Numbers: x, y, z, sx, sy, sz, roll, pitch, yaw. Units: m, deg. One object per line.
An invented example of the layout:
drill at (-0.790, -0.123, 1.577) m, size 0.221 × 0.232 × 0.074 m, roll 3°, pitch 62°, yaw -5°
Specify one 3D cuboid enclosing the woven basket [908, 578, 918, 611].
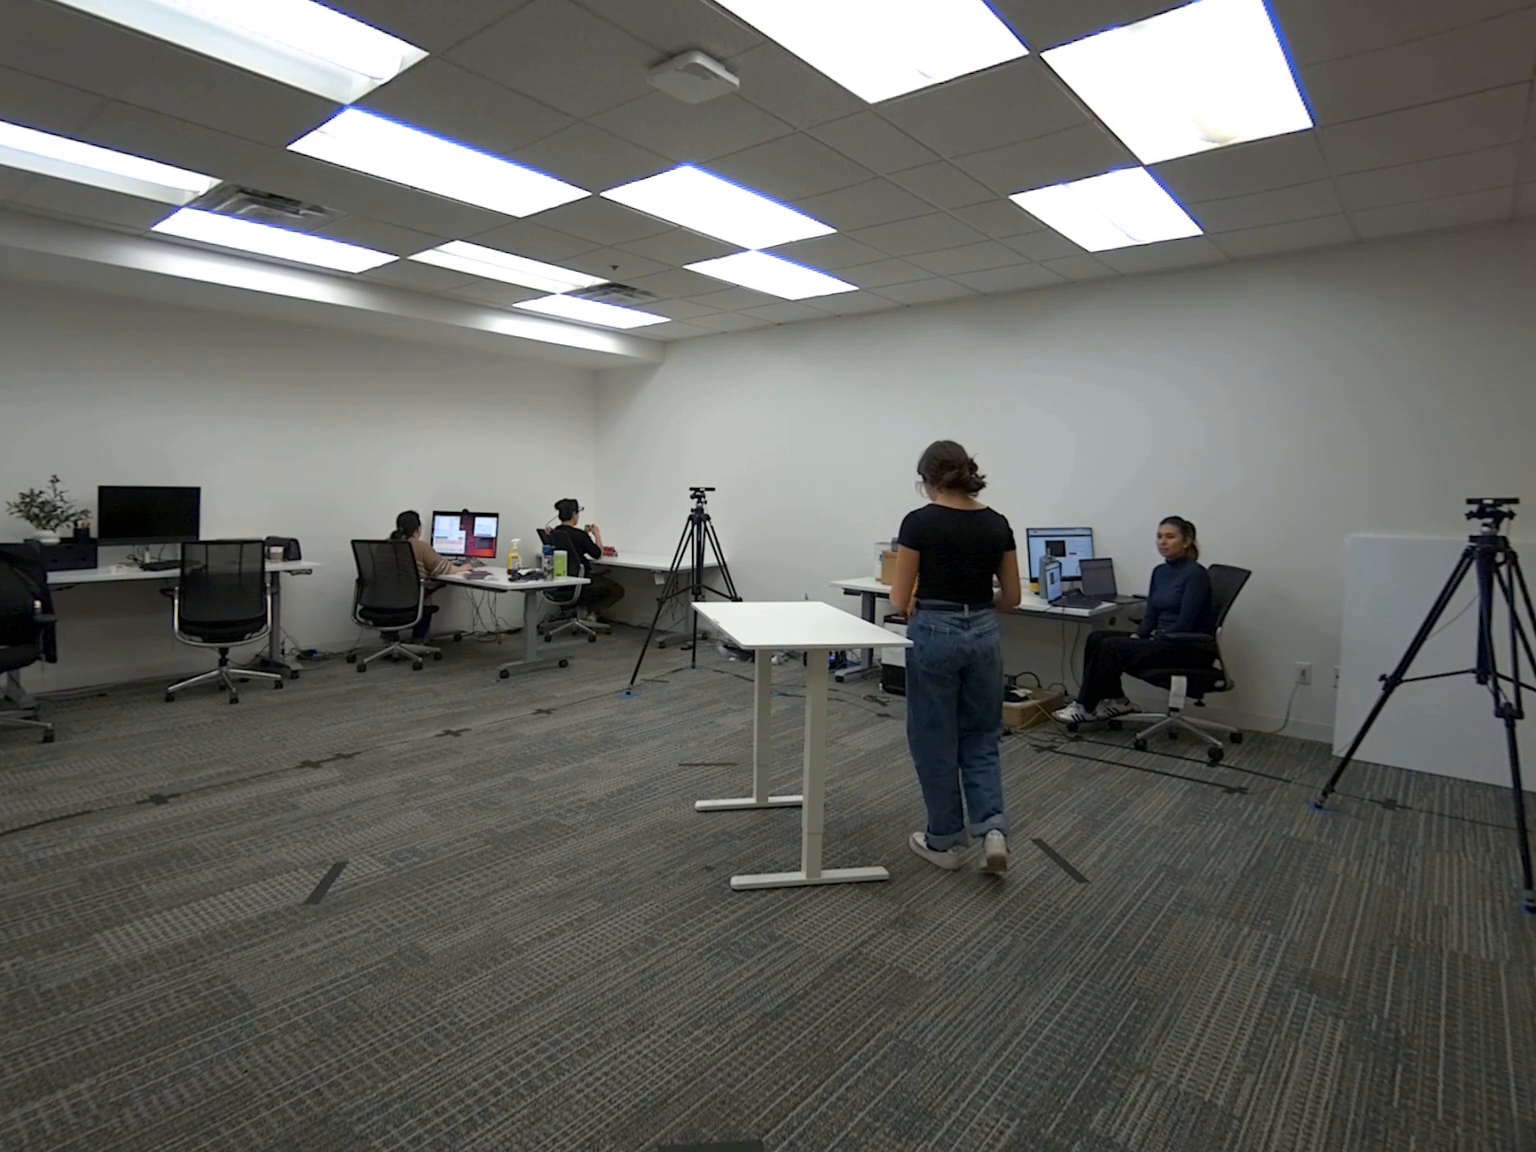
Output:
woven basket at (0.624, 0.090, 3.400) m, size 0.249 × 0.362 × 0.072 m, roll -1°, pitch -41°, yaw -12°
